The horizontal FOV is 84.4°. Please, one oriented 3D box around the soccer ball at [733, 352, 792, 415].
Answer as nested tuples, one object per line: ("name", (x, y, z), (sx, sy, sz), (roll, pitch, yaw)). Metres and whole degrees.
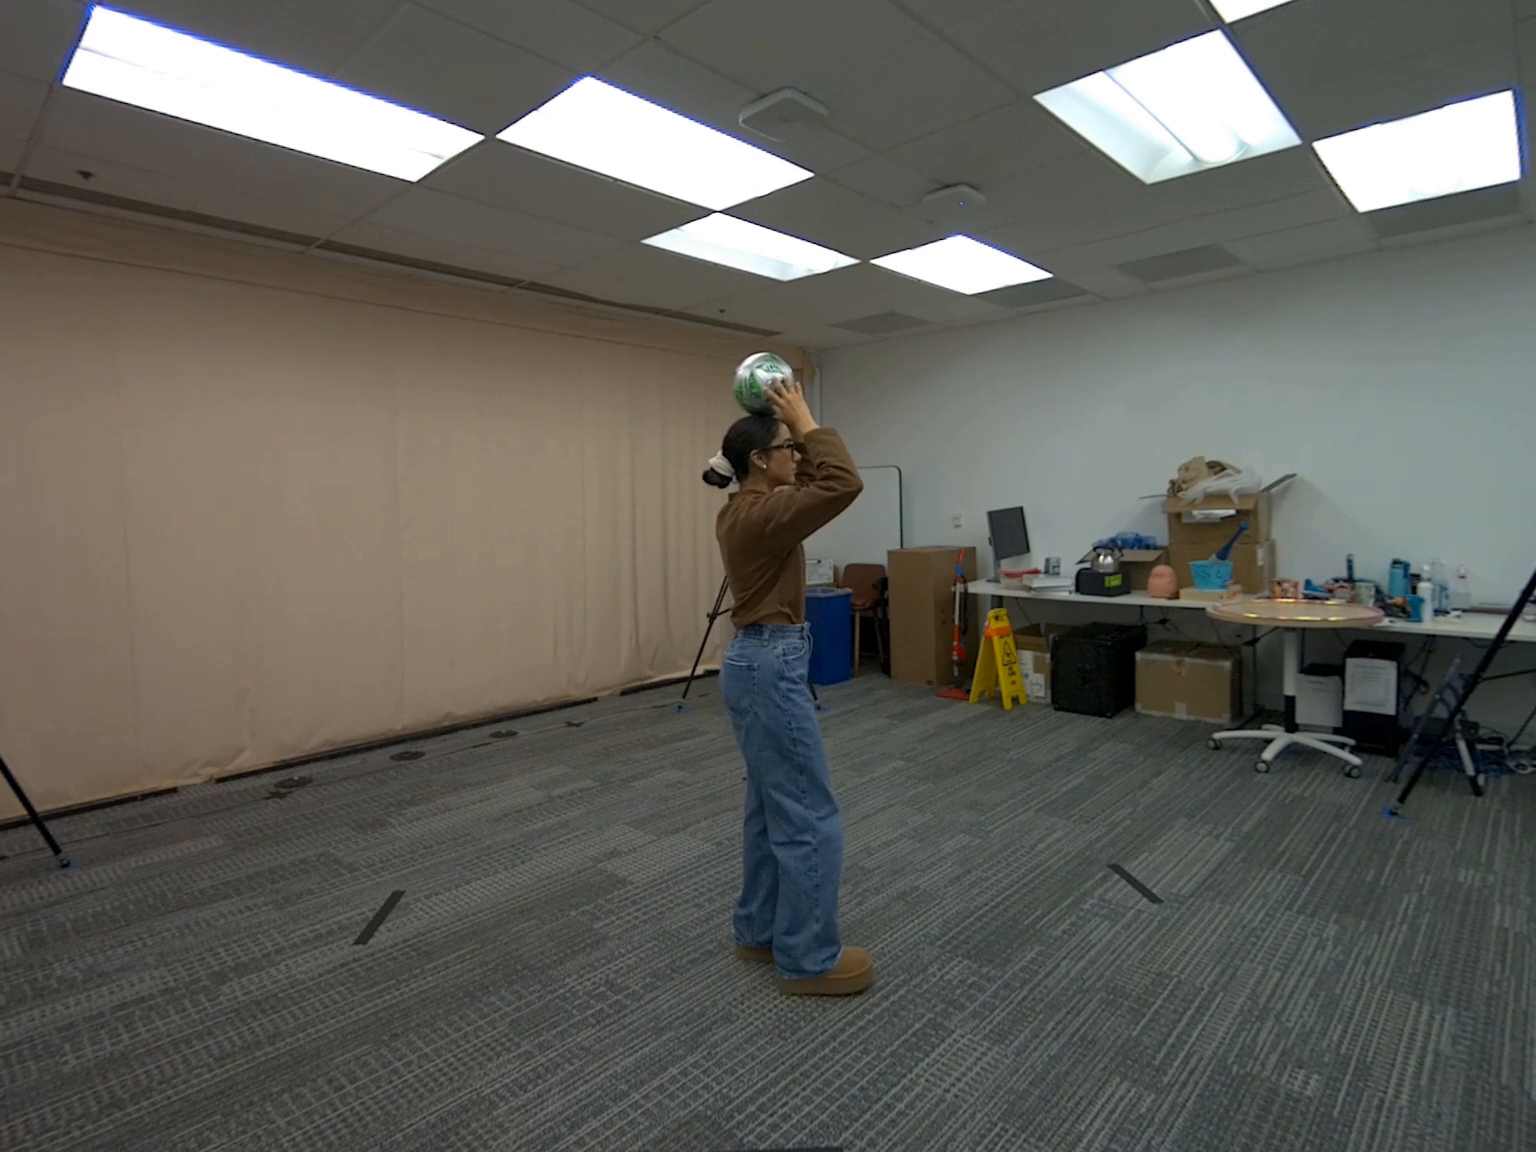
("soccer ball", (-0.008, -0.566, 2.494), (0.187, 0.187, 0.188), (-1, 4, -2))
